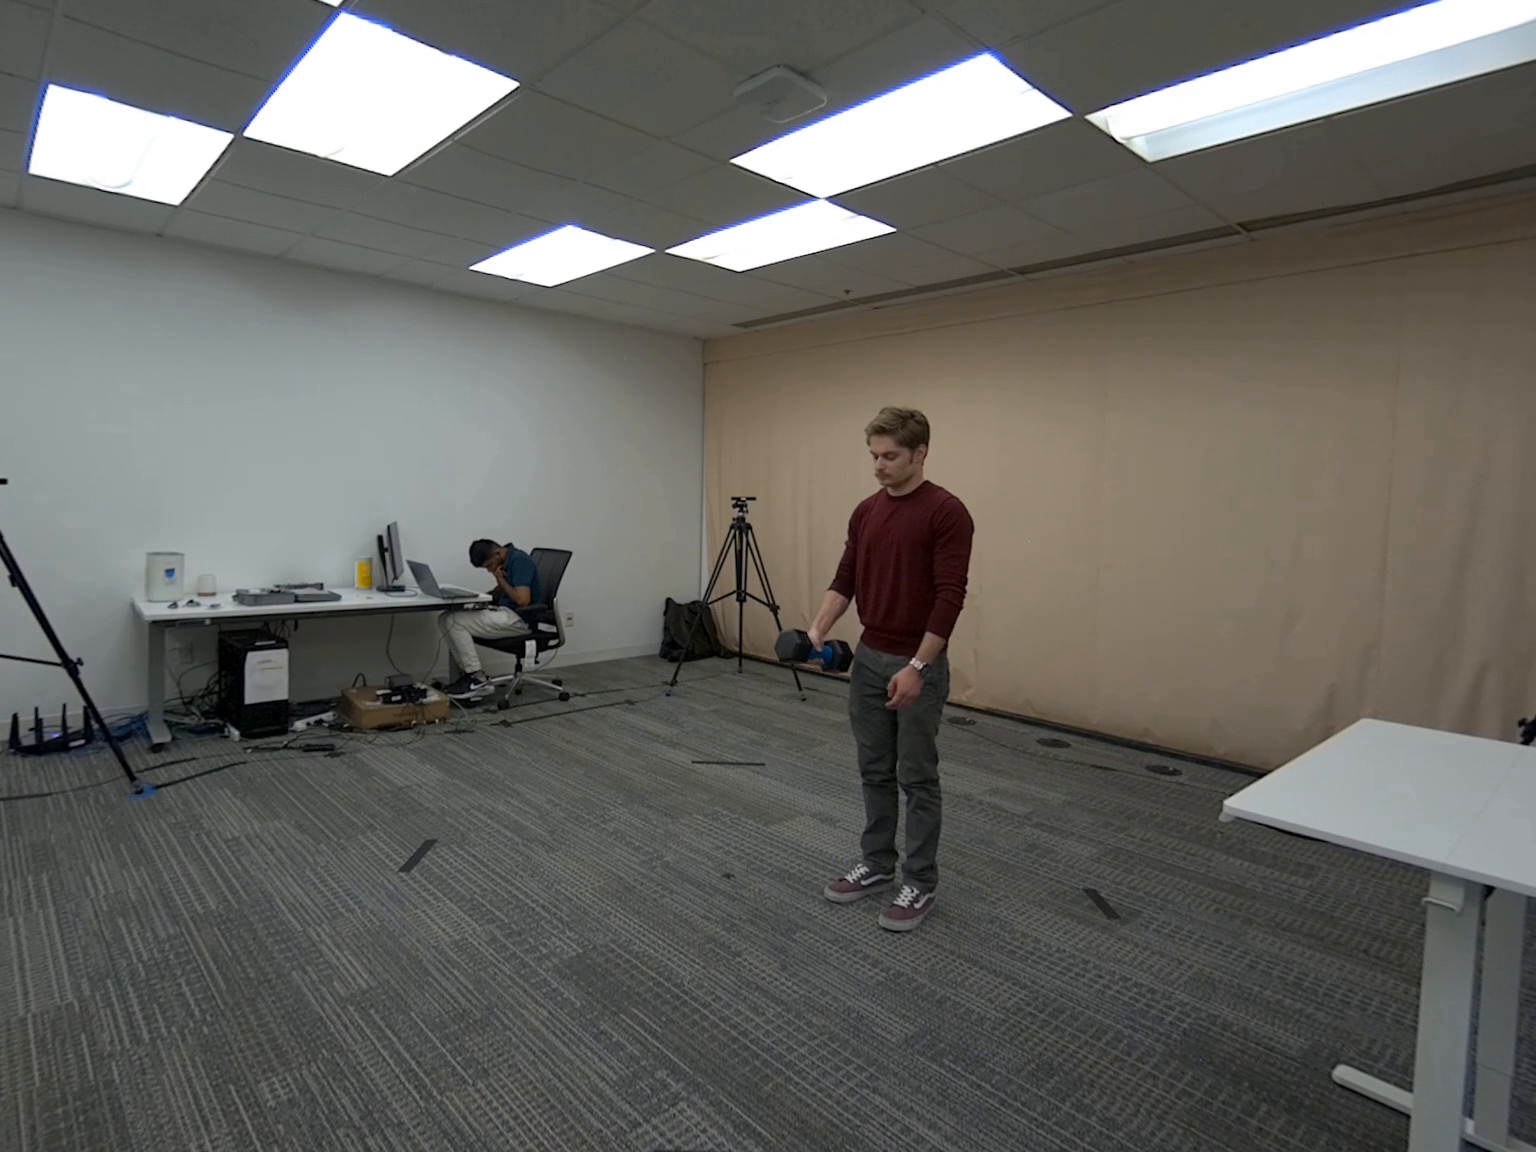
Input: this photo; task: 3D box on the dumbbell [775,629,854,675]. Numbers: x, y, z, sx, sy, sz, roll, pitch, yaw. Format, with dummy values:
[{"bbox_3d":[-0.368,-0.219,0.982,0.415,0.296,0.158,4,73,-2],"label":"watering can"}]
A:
[{"bbox_3d":[0.159,0.253,2.845,0.285,0.126,0.109,17,-53,-41],"label":"dumbbell"}]
